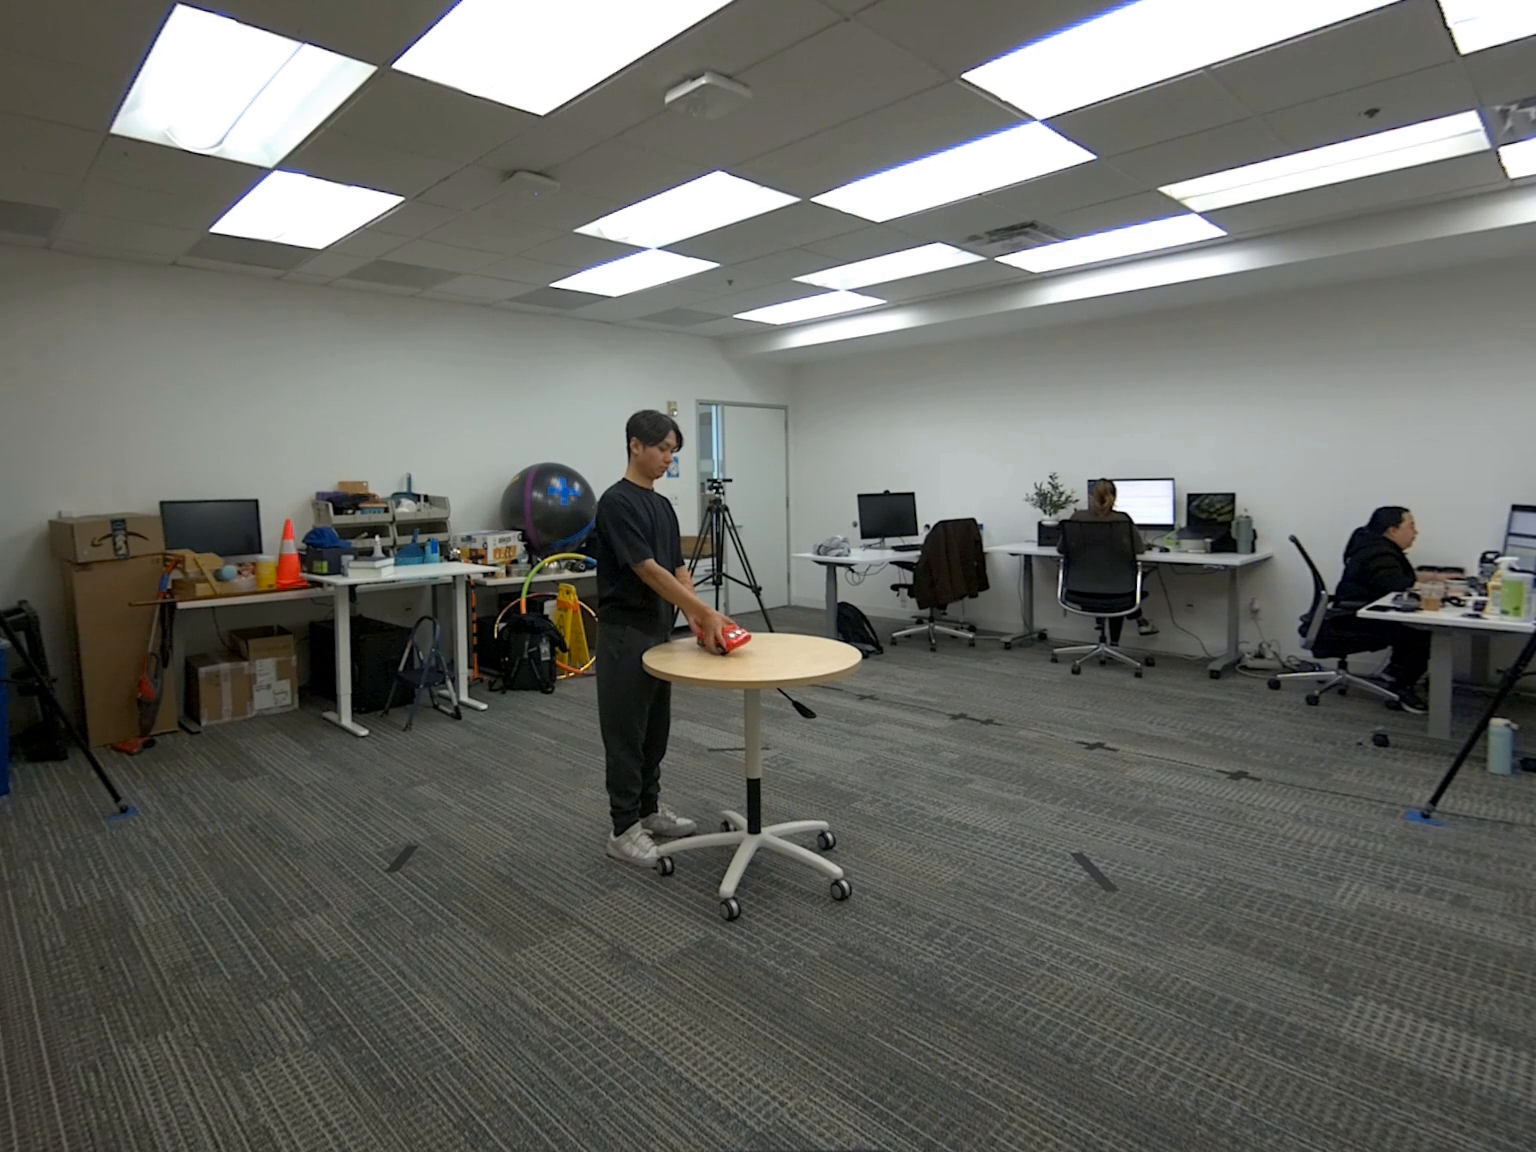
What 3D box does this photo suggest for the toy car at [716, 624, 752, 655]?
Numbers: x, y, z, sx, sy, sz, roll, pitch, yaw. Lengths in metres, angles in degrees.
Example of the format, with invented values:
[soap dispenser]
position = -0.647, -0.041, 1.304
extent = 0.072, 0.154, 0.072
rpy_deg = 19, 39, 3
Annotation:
[toy car]
position = -0.152, 0.221, 3.037
extent = 0.128, 0.082, 0.260
rpy_deg = -24, 8, -28
